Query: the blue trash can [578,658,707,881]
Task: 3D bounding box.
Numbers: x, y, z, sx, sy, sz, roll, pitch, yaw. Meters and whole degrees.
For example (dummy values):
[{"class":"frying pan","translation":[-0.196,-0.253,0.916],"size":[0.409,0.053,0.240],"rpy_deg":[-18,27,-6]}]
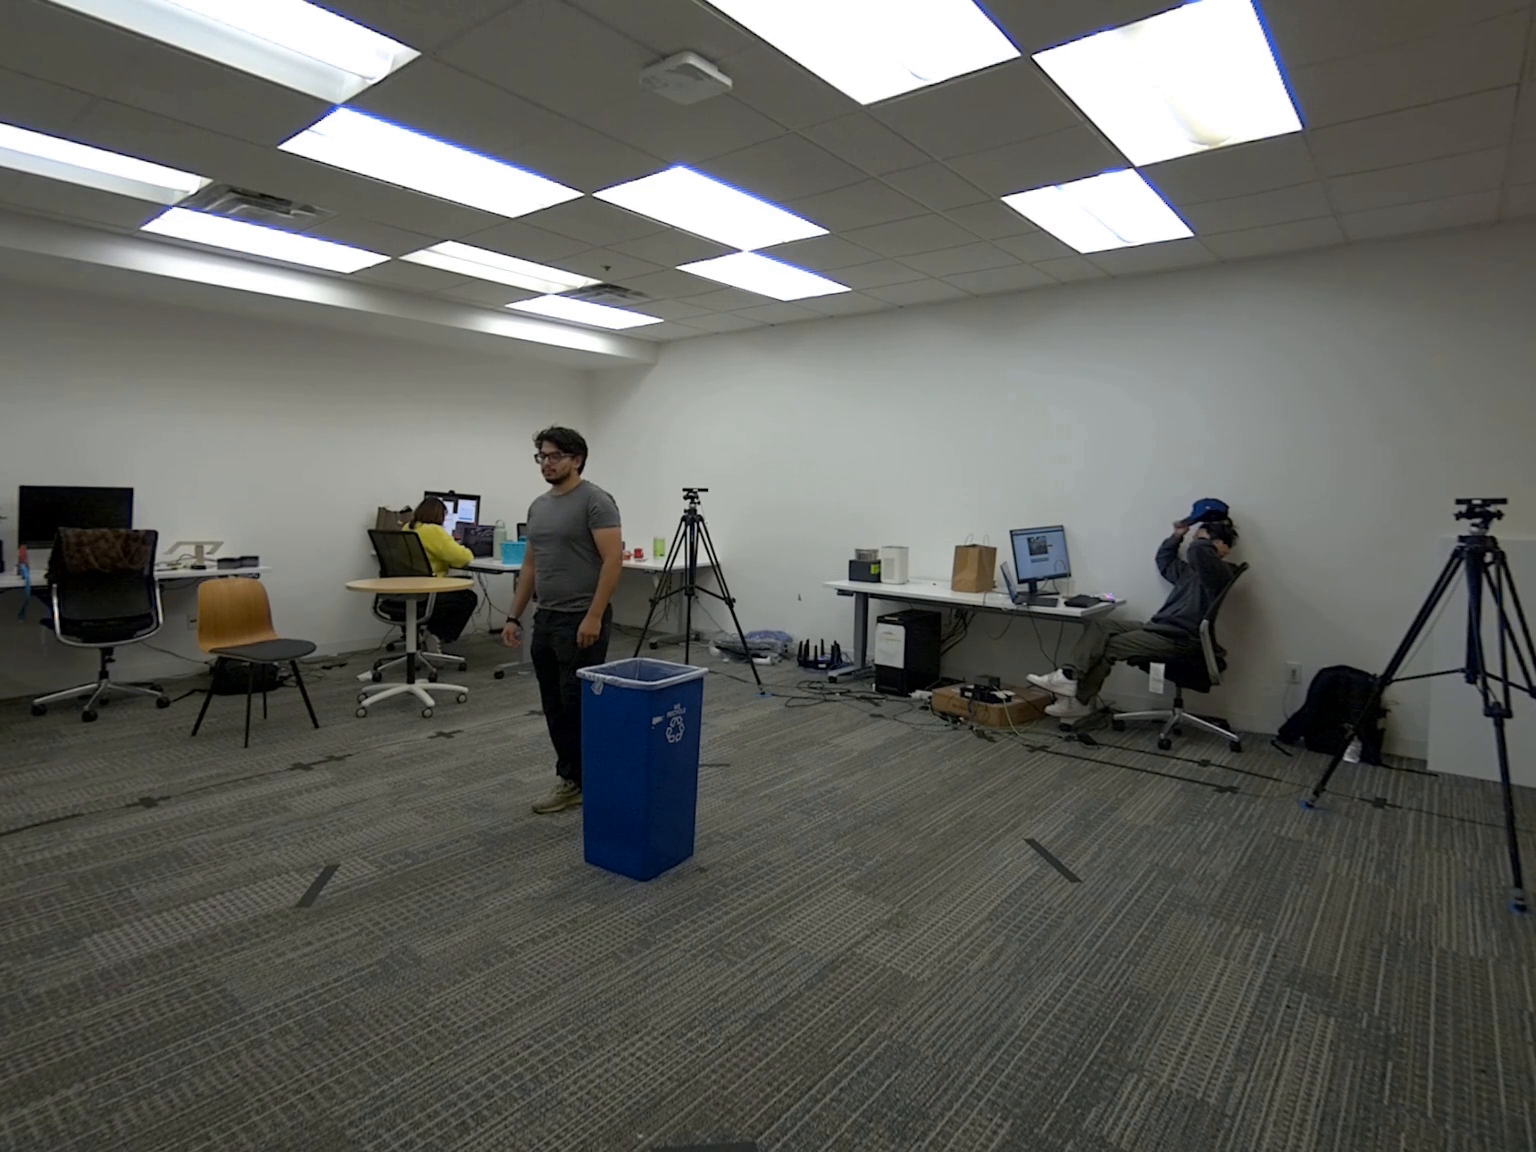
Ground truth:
[{"class":"blue trash can","translation":[-0.481,0.699,3.186],"size":[0.390,0.712,0.364],"rpy_deg":[3,4,32]}]
